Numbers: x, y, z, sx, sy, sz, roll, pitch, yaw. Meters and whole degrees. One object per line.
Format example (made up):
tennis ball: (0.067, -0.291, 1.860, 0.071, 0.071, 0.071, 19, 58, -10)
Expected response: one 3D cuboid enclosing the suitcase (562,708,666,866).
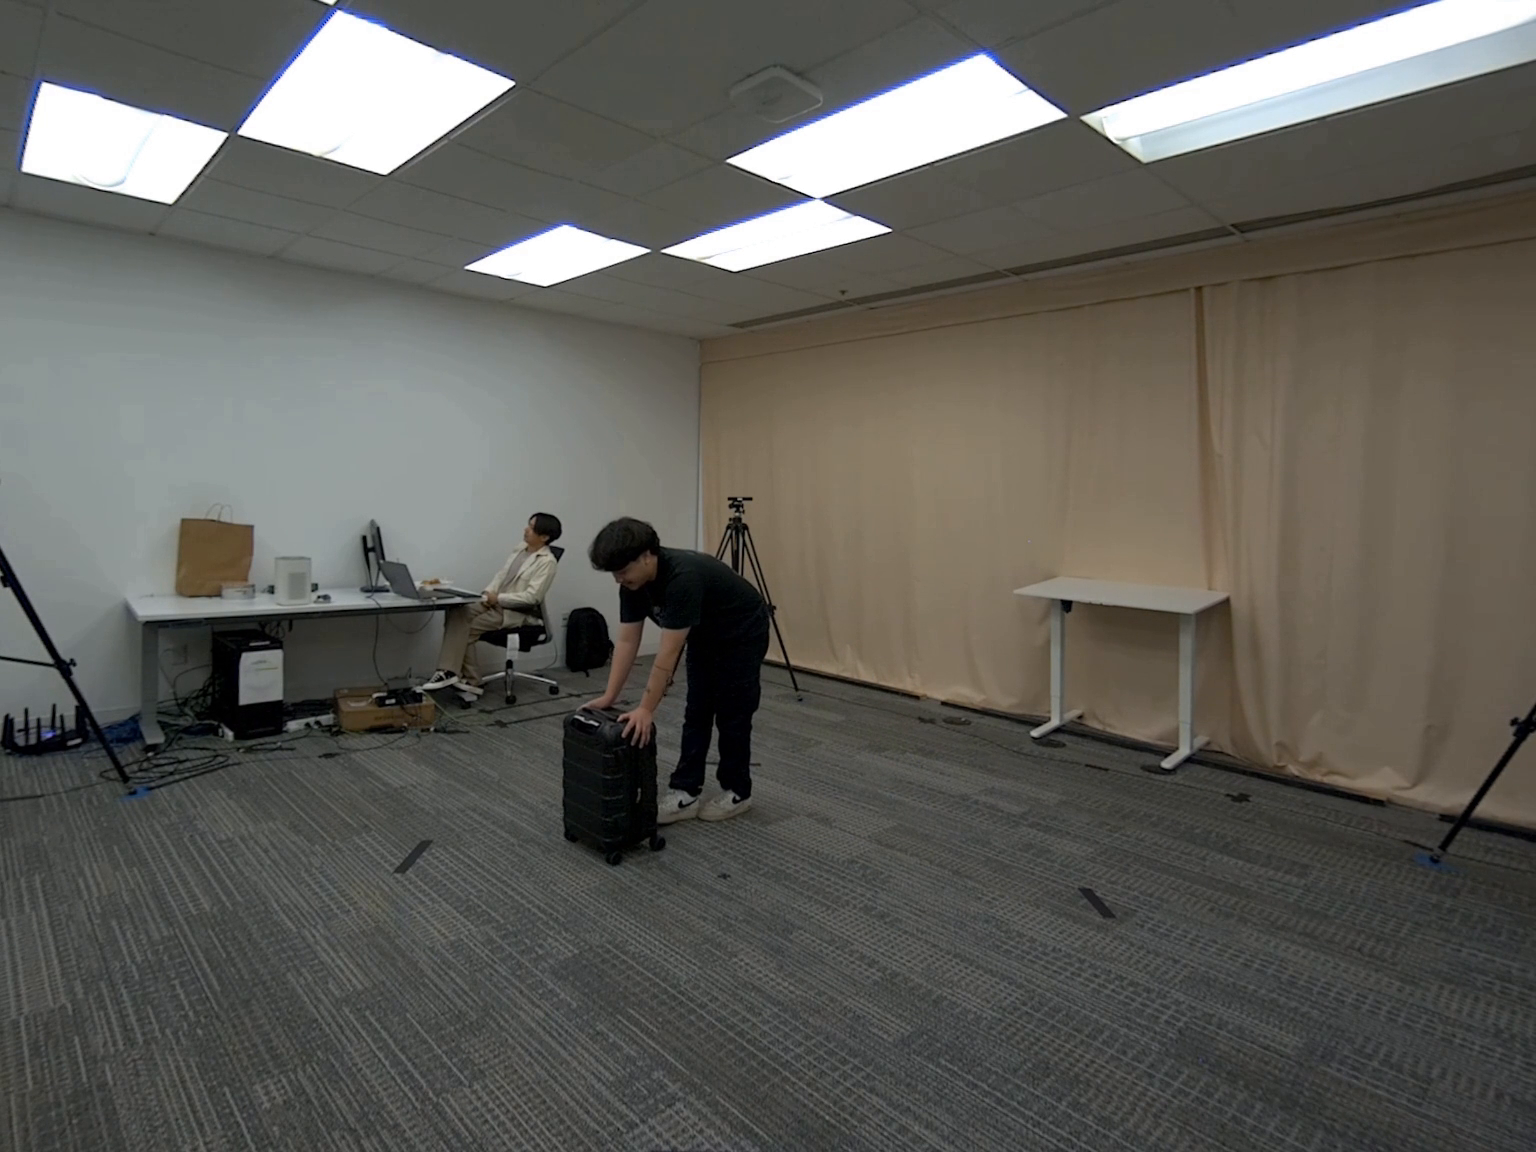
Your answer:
suitcase: (-0.636, 0.804, 3.333, 0.243, 0.547, 0.385, -5, 7, -43)
